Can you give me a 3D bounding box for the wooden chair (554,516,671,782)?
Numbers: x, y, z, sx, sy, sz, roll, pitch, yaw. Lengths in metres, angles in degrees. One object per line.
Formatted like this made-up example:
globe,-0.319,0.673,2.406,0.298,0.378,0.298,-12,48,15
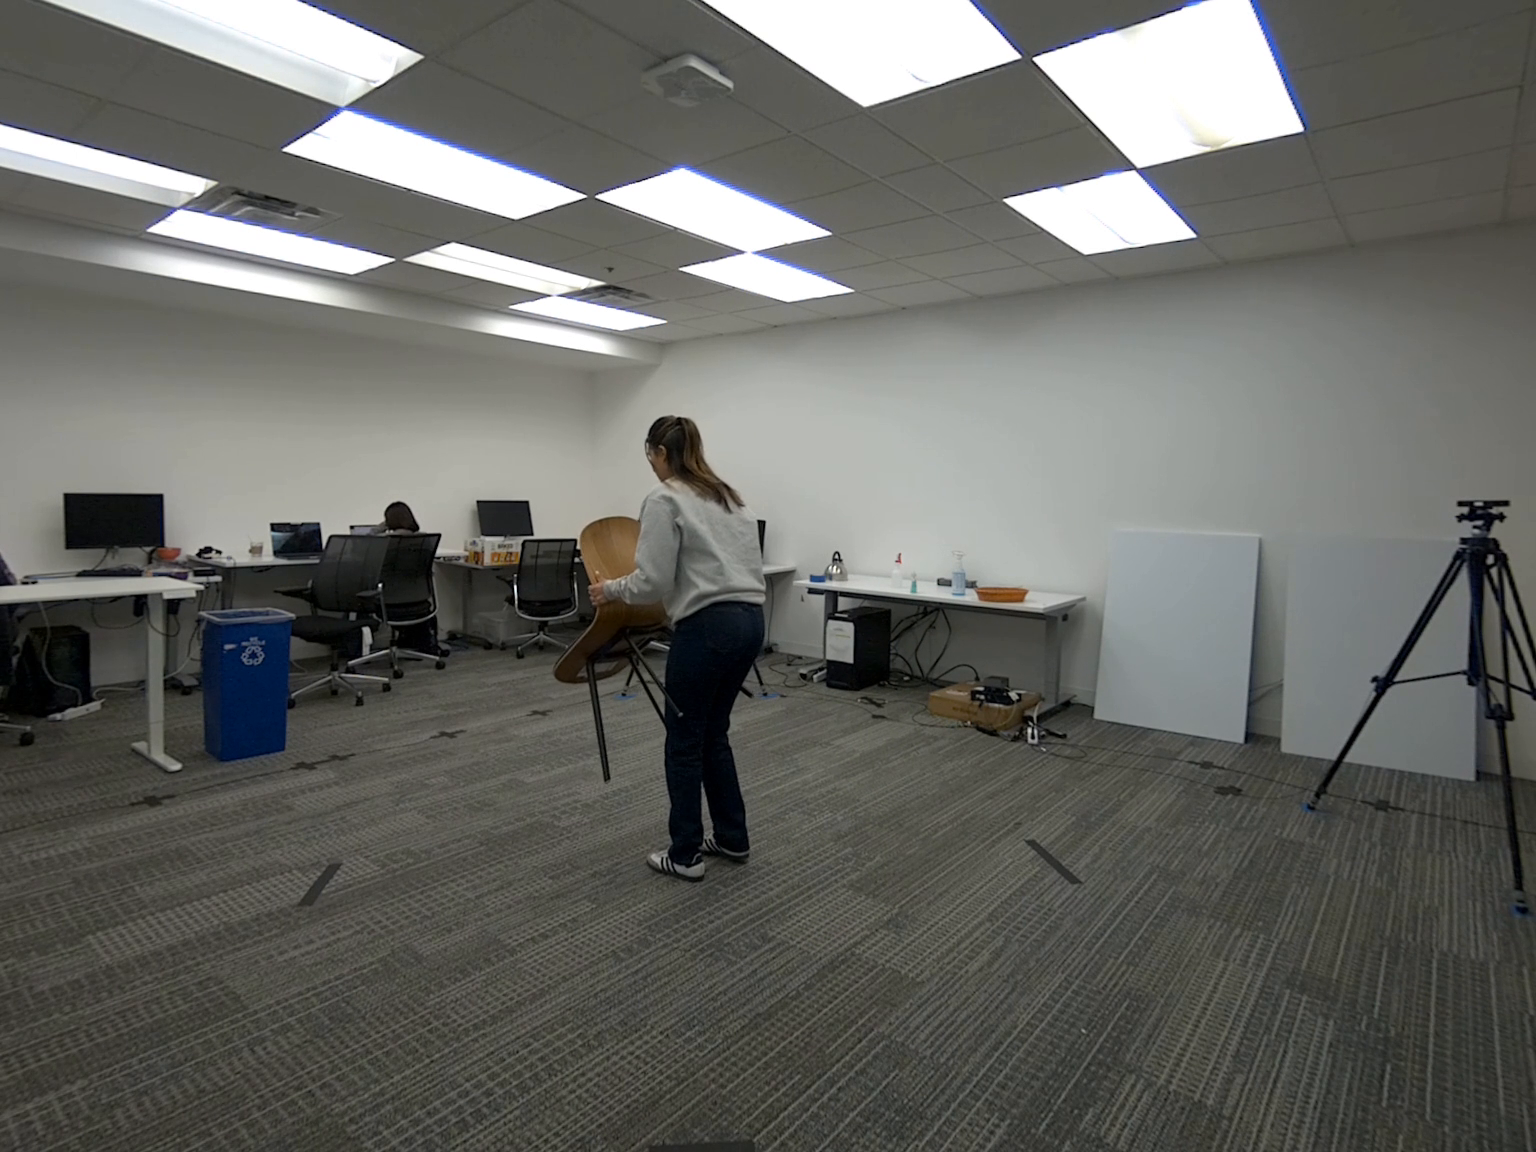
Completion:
wooden chair,-0.567,0.270,3.322,0.525,0.901,0.464,-41,-22,29
